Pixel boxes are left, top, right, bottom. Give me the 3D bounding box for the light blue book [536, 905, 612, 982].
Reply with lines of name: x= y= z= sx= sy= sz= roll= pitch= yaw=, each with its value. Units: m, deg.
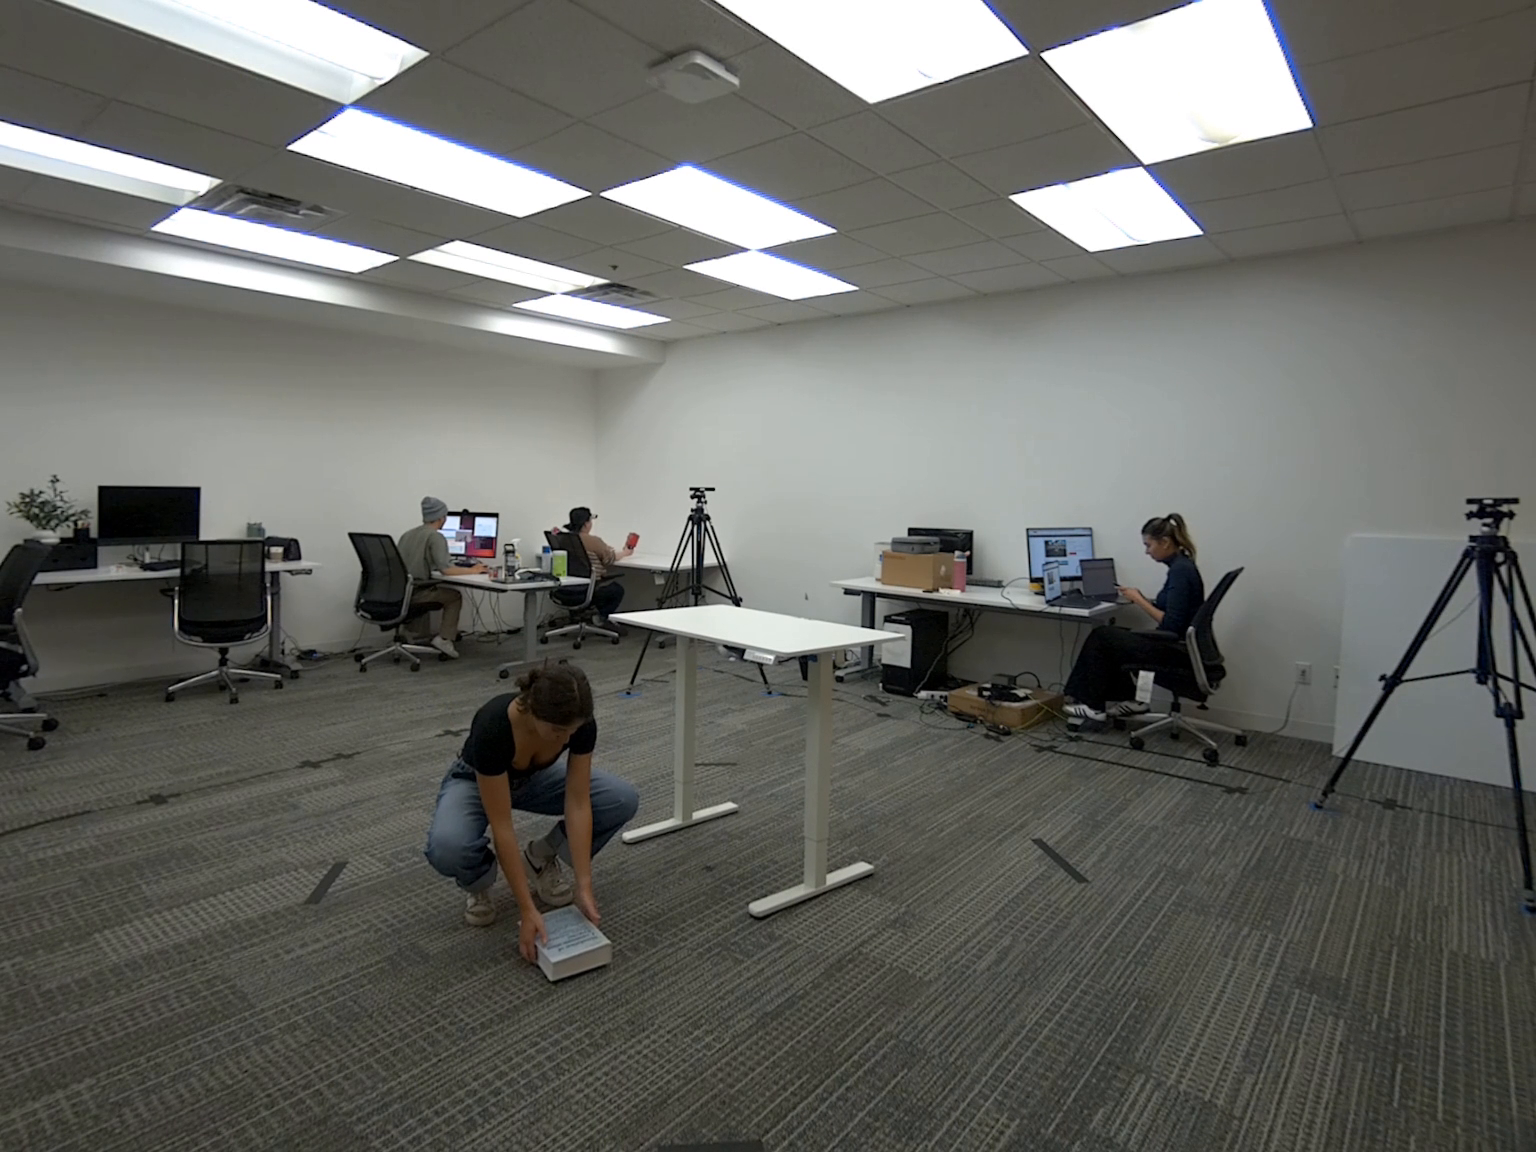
light blue book: x=-0.615 y=1.079 z=2.500 sx=0.186 sy=0.059 sz=0.269 roll=-4 pitch=7 yaw=-37
